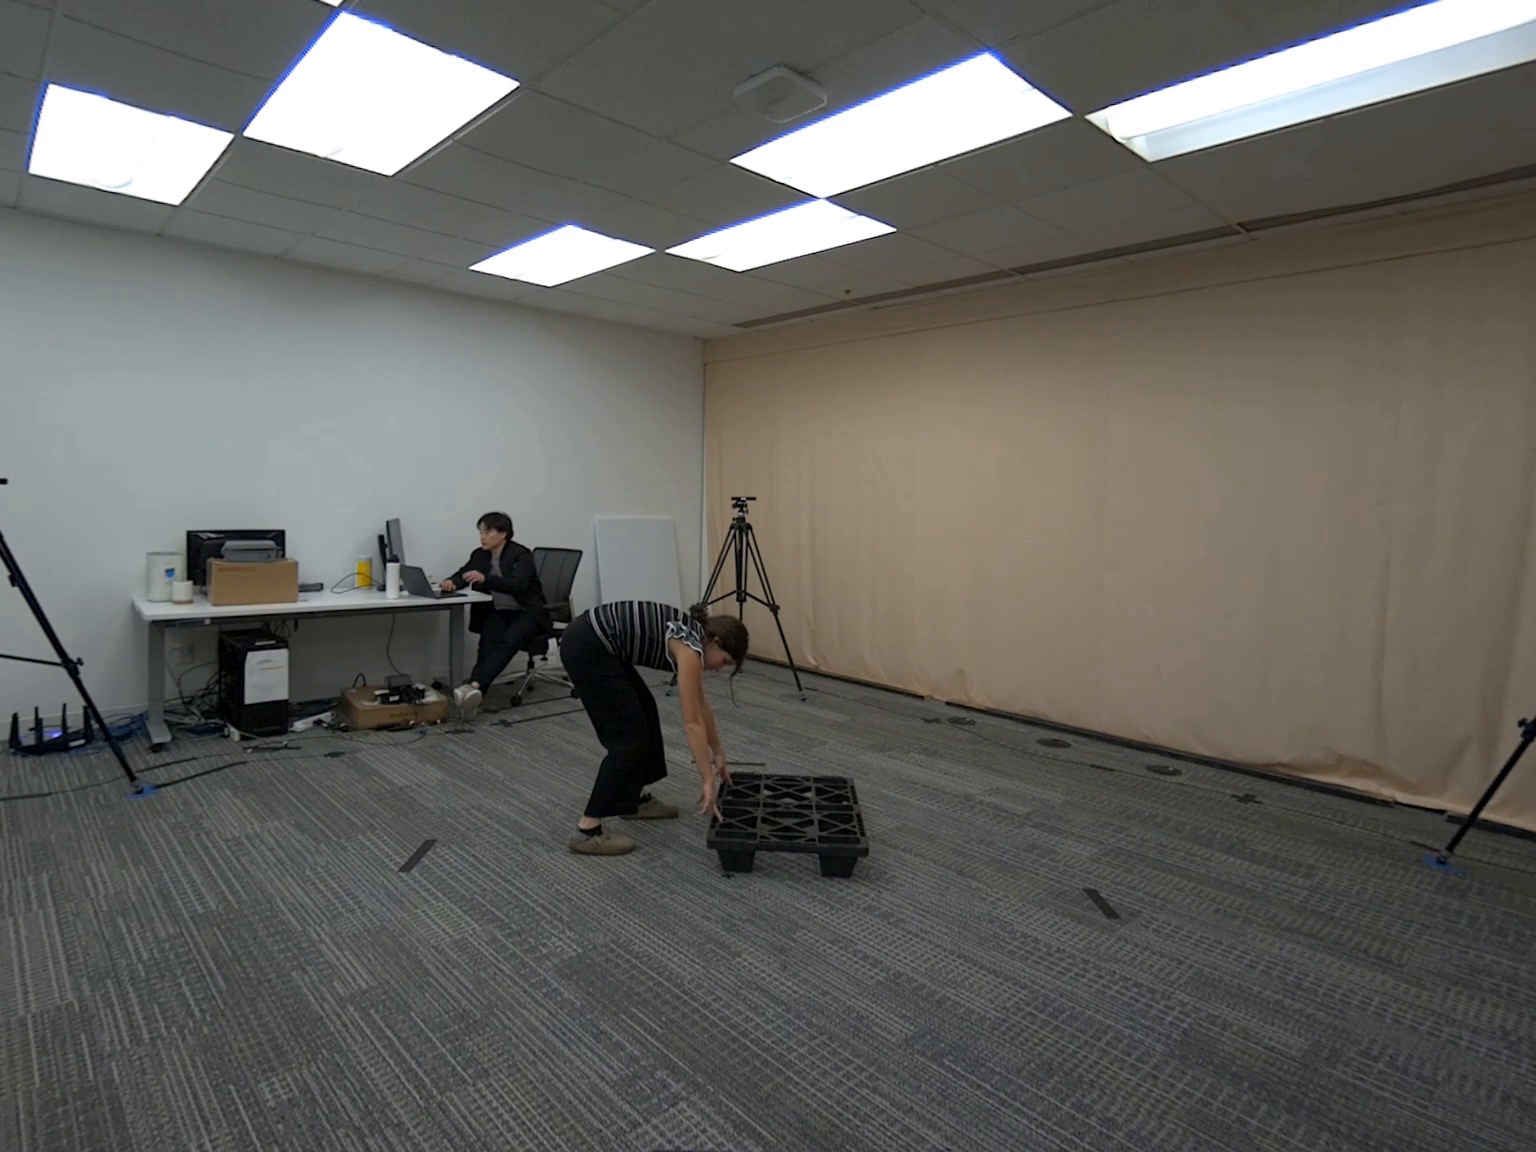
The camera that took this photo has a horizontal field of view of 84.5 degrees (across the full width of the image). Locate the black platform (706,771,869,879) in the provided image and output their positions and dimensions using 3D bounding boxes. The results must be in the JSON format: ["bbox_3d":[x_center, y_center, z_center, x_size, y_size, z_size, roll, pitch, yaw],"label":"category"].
[{"bbox_3d":[0.073,1.012,3.479,0.607,0.143,0.806,2,5,2],"label":"black platform"}]
